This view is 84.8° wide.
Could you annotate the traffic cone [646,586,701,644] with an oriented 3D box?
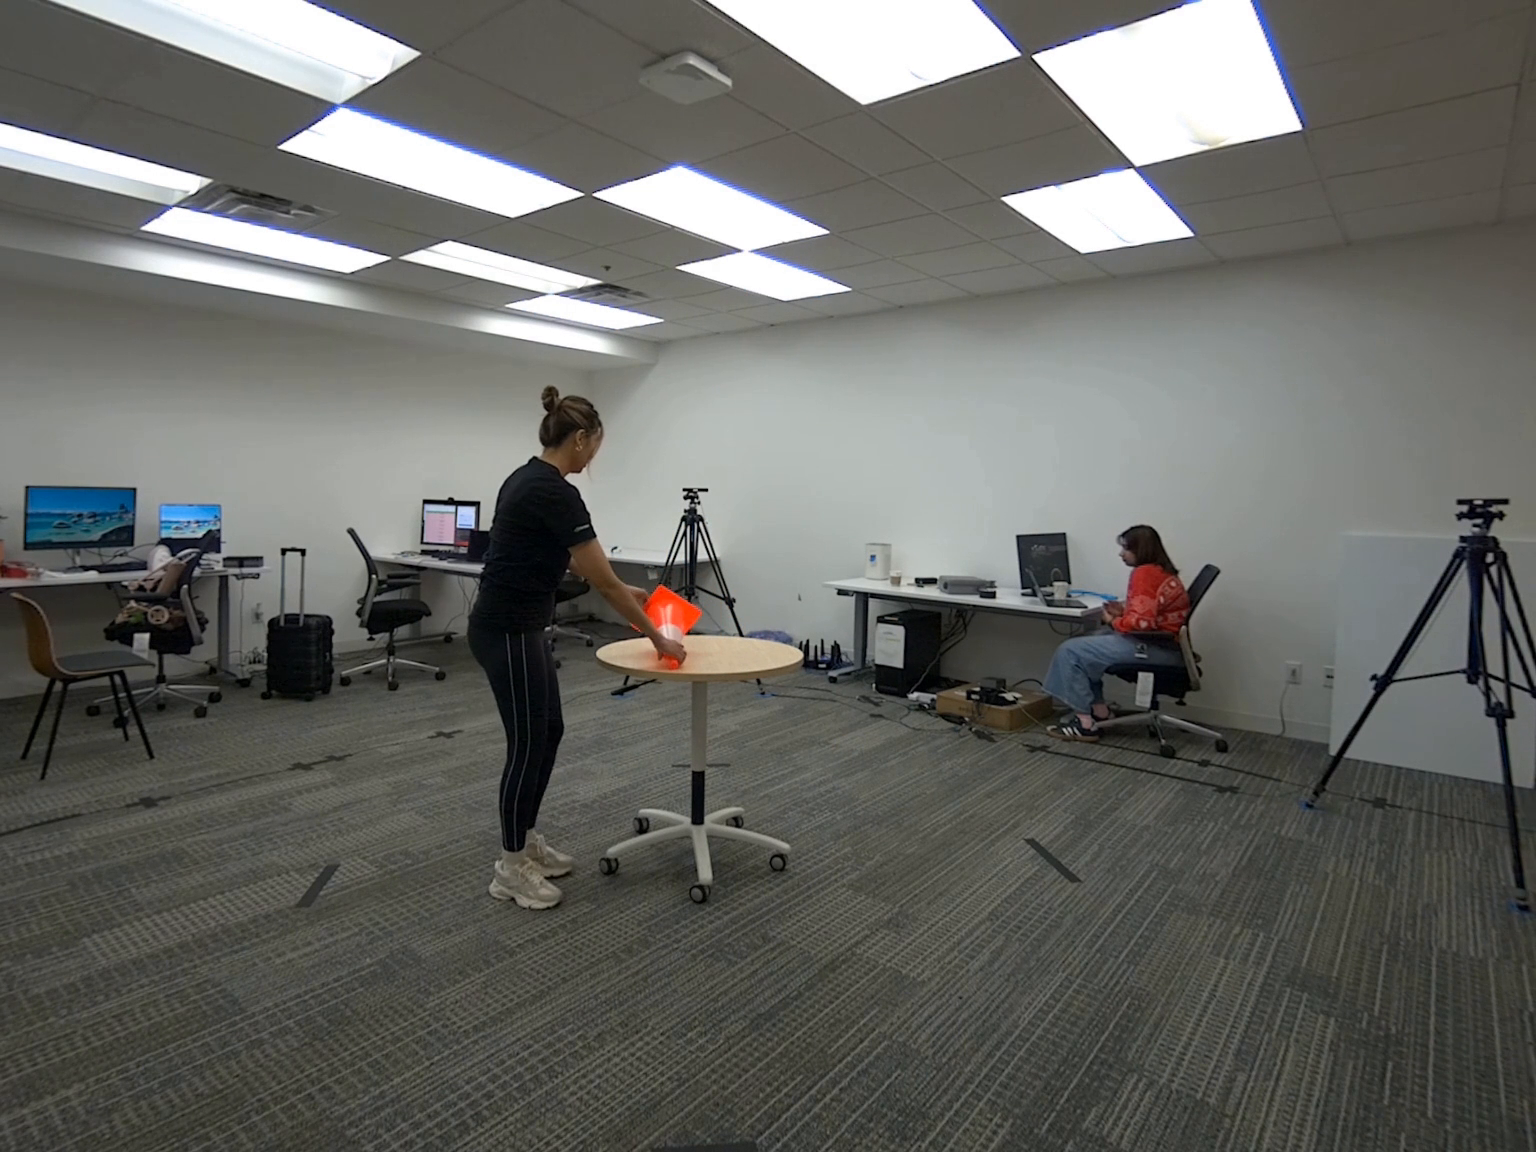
[{"bbox_3d":[-0.358,0.230,3.000,0.199,0.203,0.395,33,13,-21],"label":"traffic cone"}]
